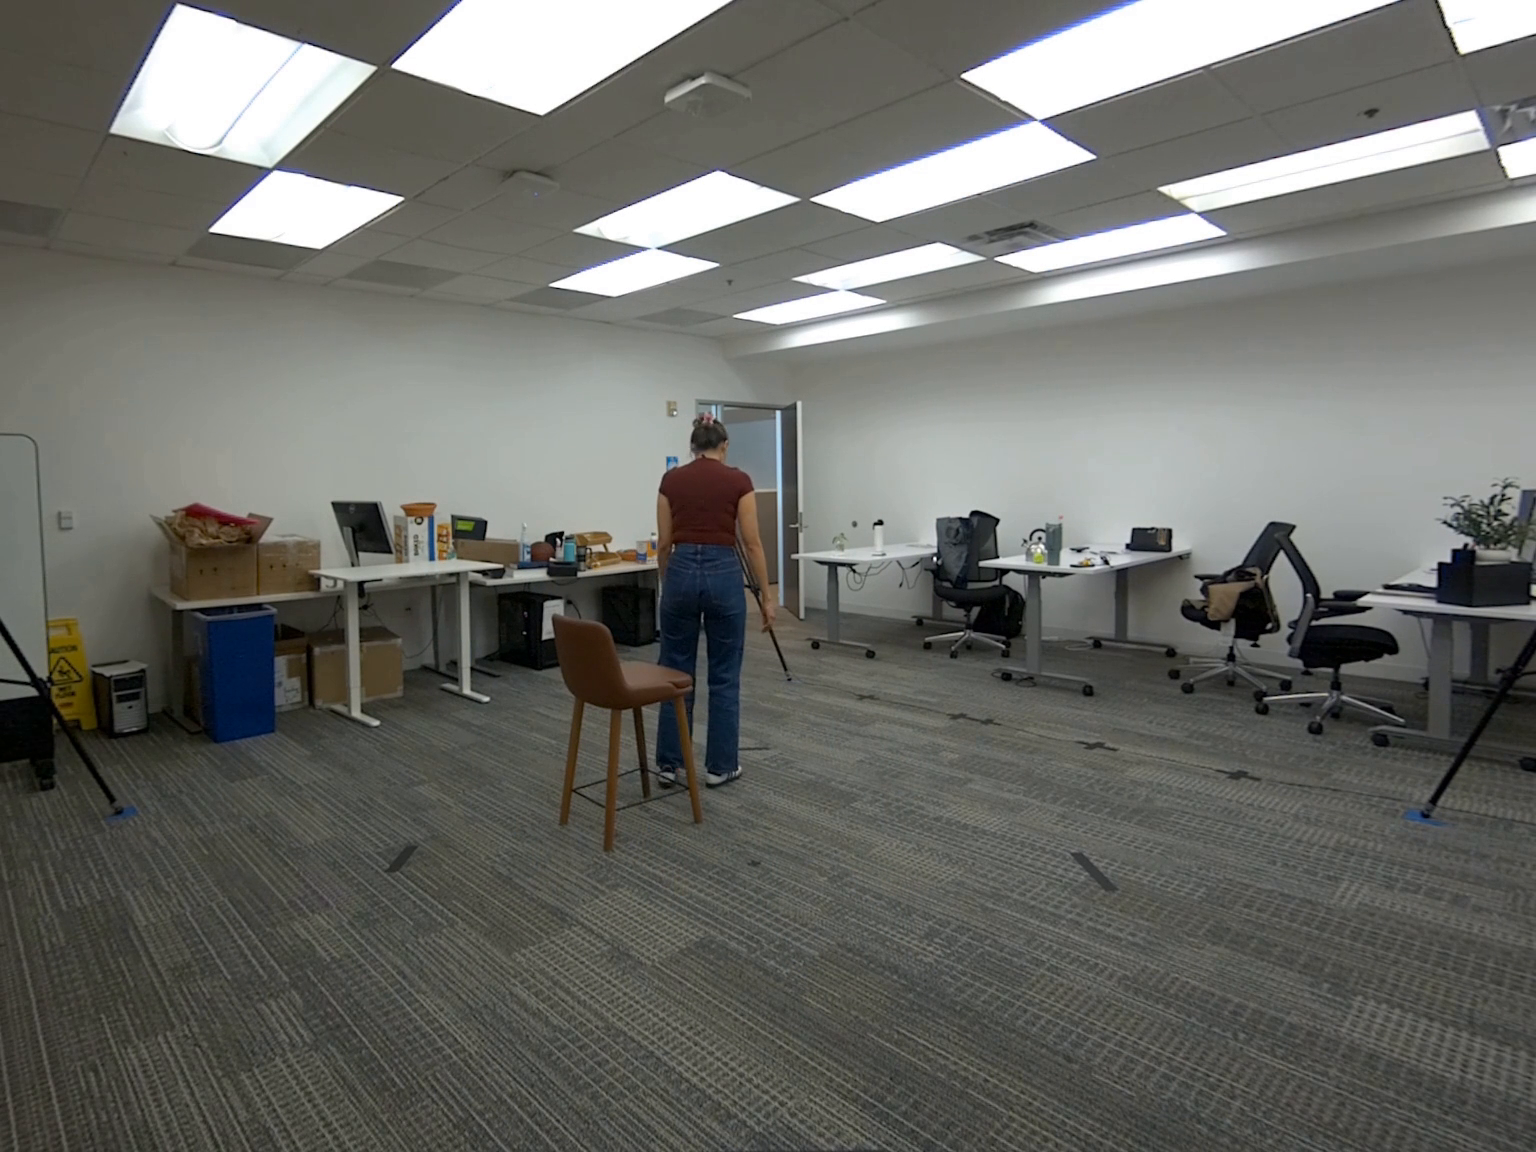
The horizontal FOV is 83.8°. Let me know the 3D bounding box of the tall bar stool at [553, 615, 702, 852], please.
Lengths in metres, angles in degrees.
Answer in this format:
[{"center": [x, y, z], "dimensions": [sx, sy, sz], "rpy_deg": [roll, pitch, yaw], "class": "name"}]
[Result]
[{"center": [-0.586, 0.578, 3.475], "dimensions": [0.456, 0.886, 0.470], "rpy_deg": [-6, 6, -40], "class": "tall bar stool"}]
